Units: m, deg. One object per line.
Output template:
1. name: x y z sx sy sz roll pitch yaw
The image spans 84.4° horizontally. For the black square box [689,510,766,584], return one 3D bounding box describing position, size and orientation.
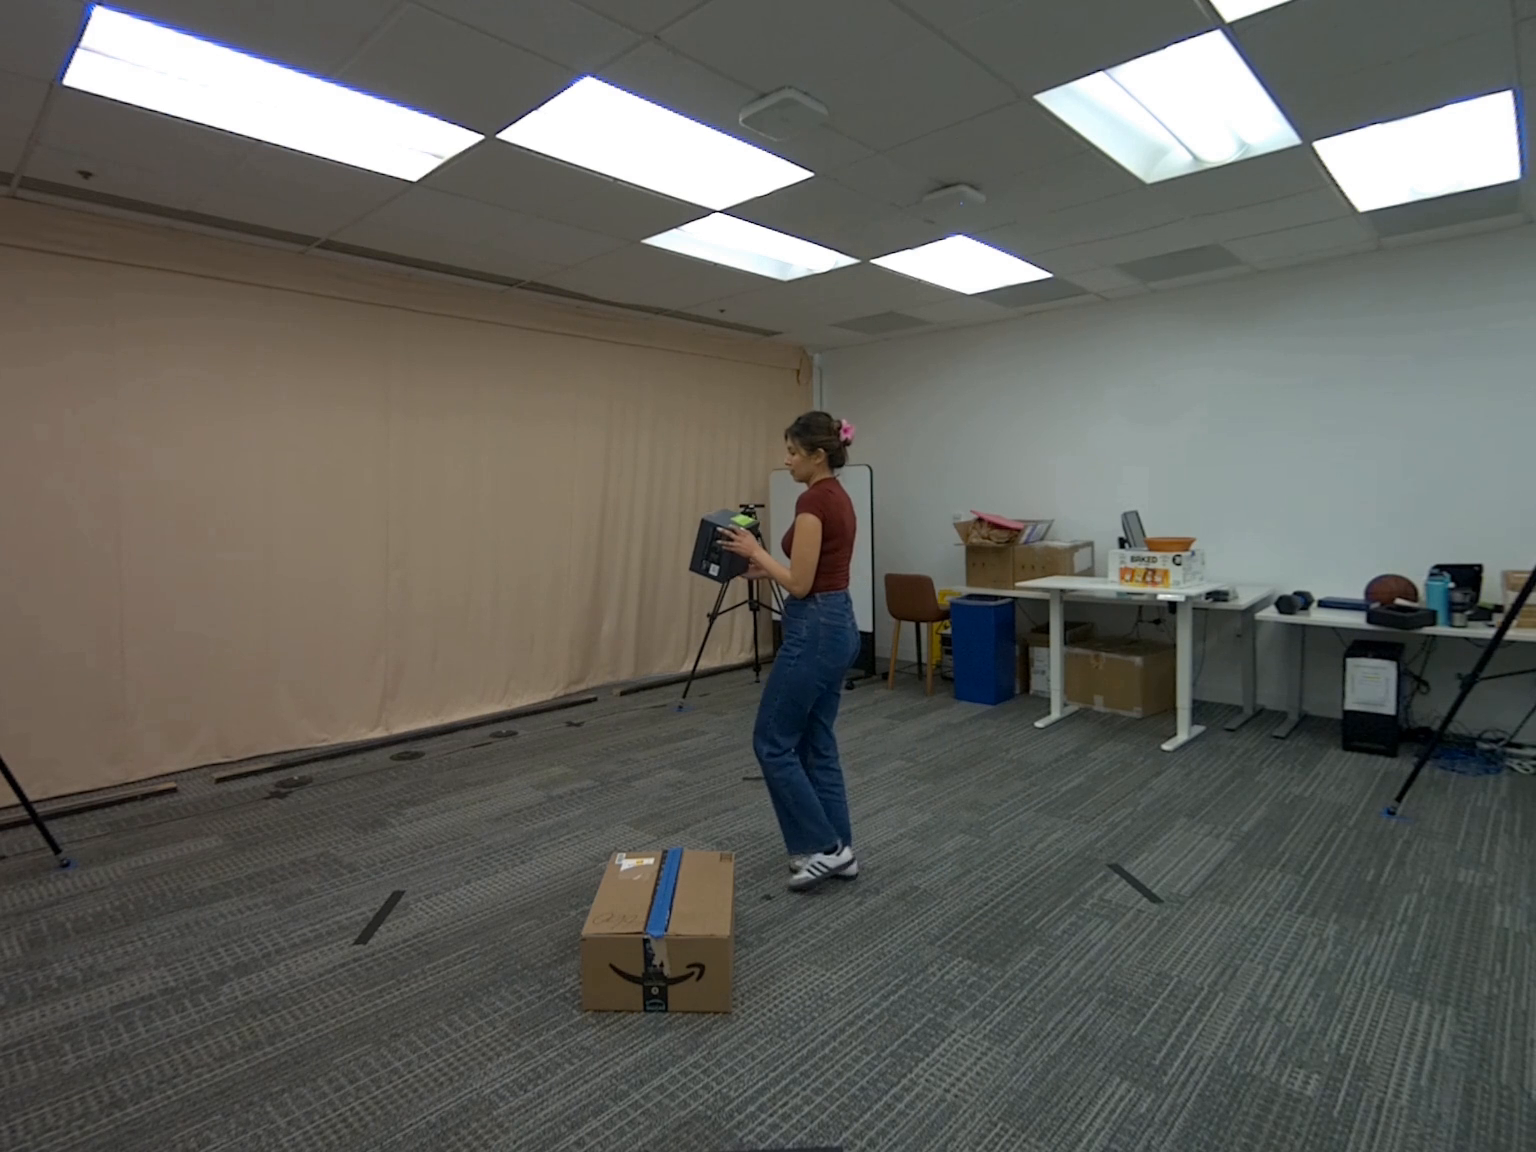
1. black square box: -0.161 -0.119 3.256 0.159 0.215 0.224 20 20 16
